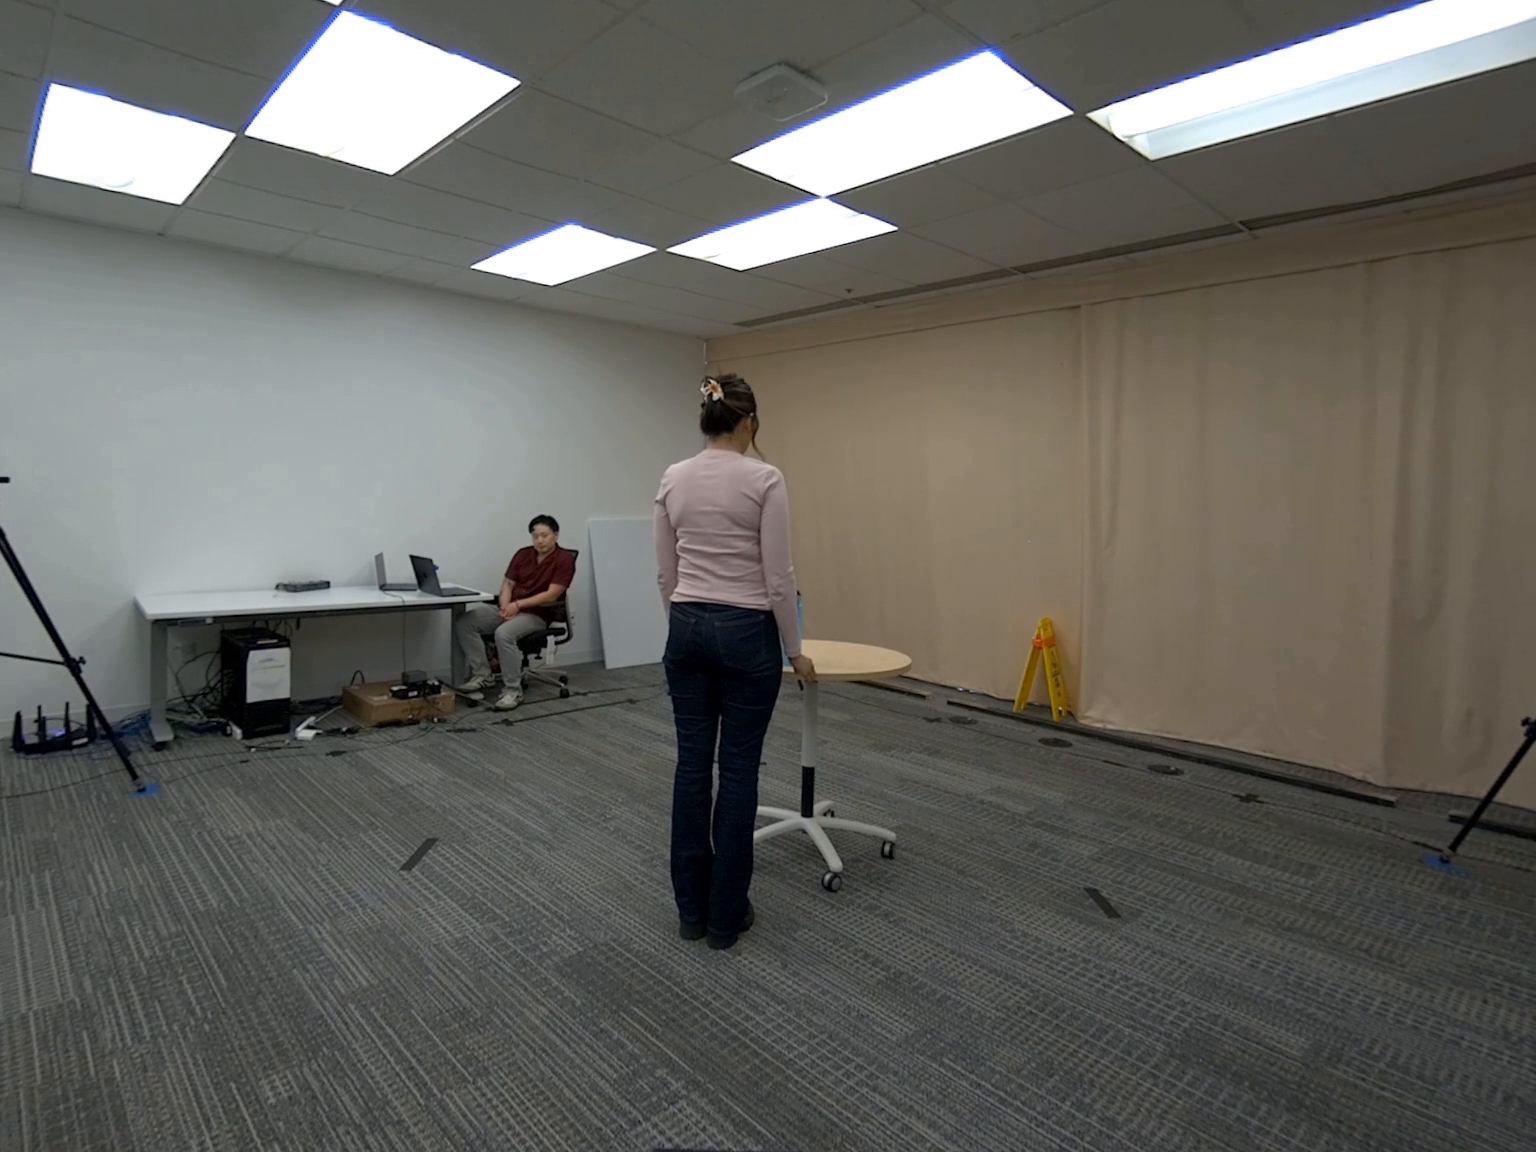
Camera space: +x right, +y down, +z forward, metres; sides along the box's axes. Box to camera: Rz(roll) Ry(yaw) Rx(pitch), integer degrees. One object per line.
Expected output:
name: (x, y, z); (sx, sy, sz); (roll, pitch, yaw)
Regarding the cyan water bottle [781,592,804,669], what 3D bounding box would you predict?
cyan water bottle: (0.073, 0.188, 3.072); (0.092, 0.282, 0.092); (-1, 4, -1)
